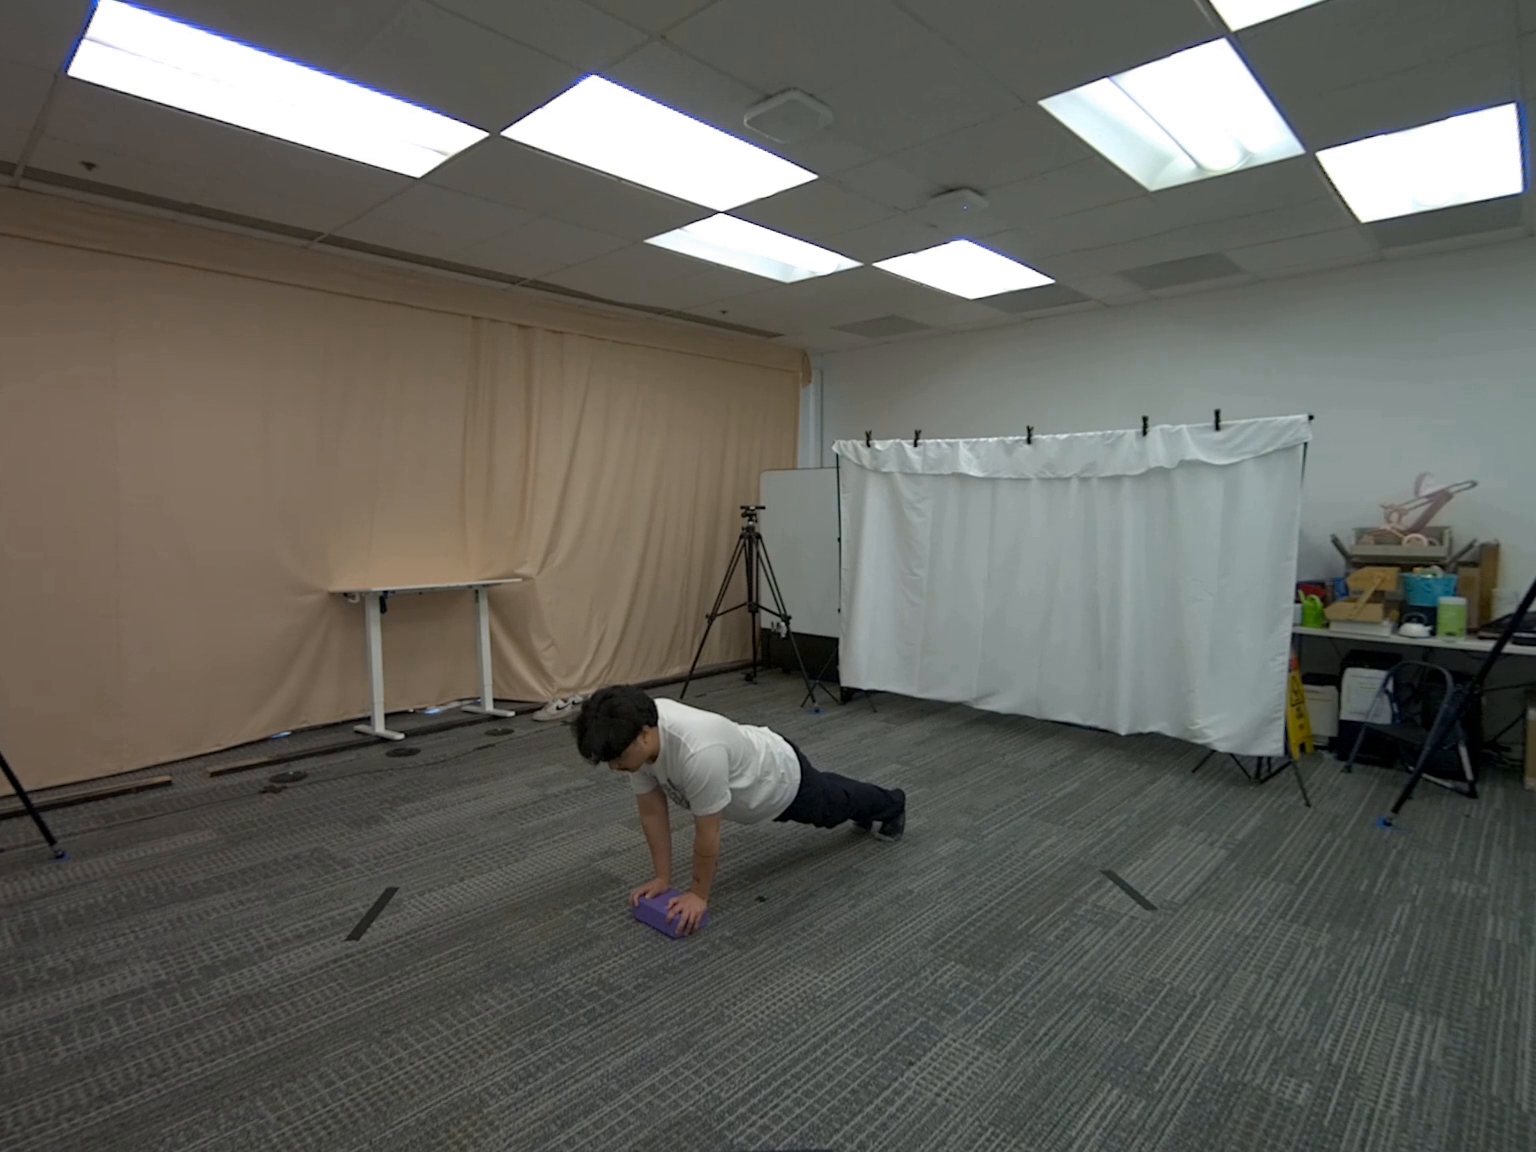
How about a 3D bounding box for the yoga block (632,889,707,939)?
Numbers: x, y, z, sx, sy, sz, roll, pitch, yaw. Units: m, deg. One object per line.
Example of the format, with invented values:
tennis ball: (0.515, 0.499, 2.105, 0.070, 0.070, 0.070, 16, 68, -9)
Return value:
yoga block: (-0.327, 1.125, 2.823, 0.237, 0.076, 0.144, 4, 8, 41)
